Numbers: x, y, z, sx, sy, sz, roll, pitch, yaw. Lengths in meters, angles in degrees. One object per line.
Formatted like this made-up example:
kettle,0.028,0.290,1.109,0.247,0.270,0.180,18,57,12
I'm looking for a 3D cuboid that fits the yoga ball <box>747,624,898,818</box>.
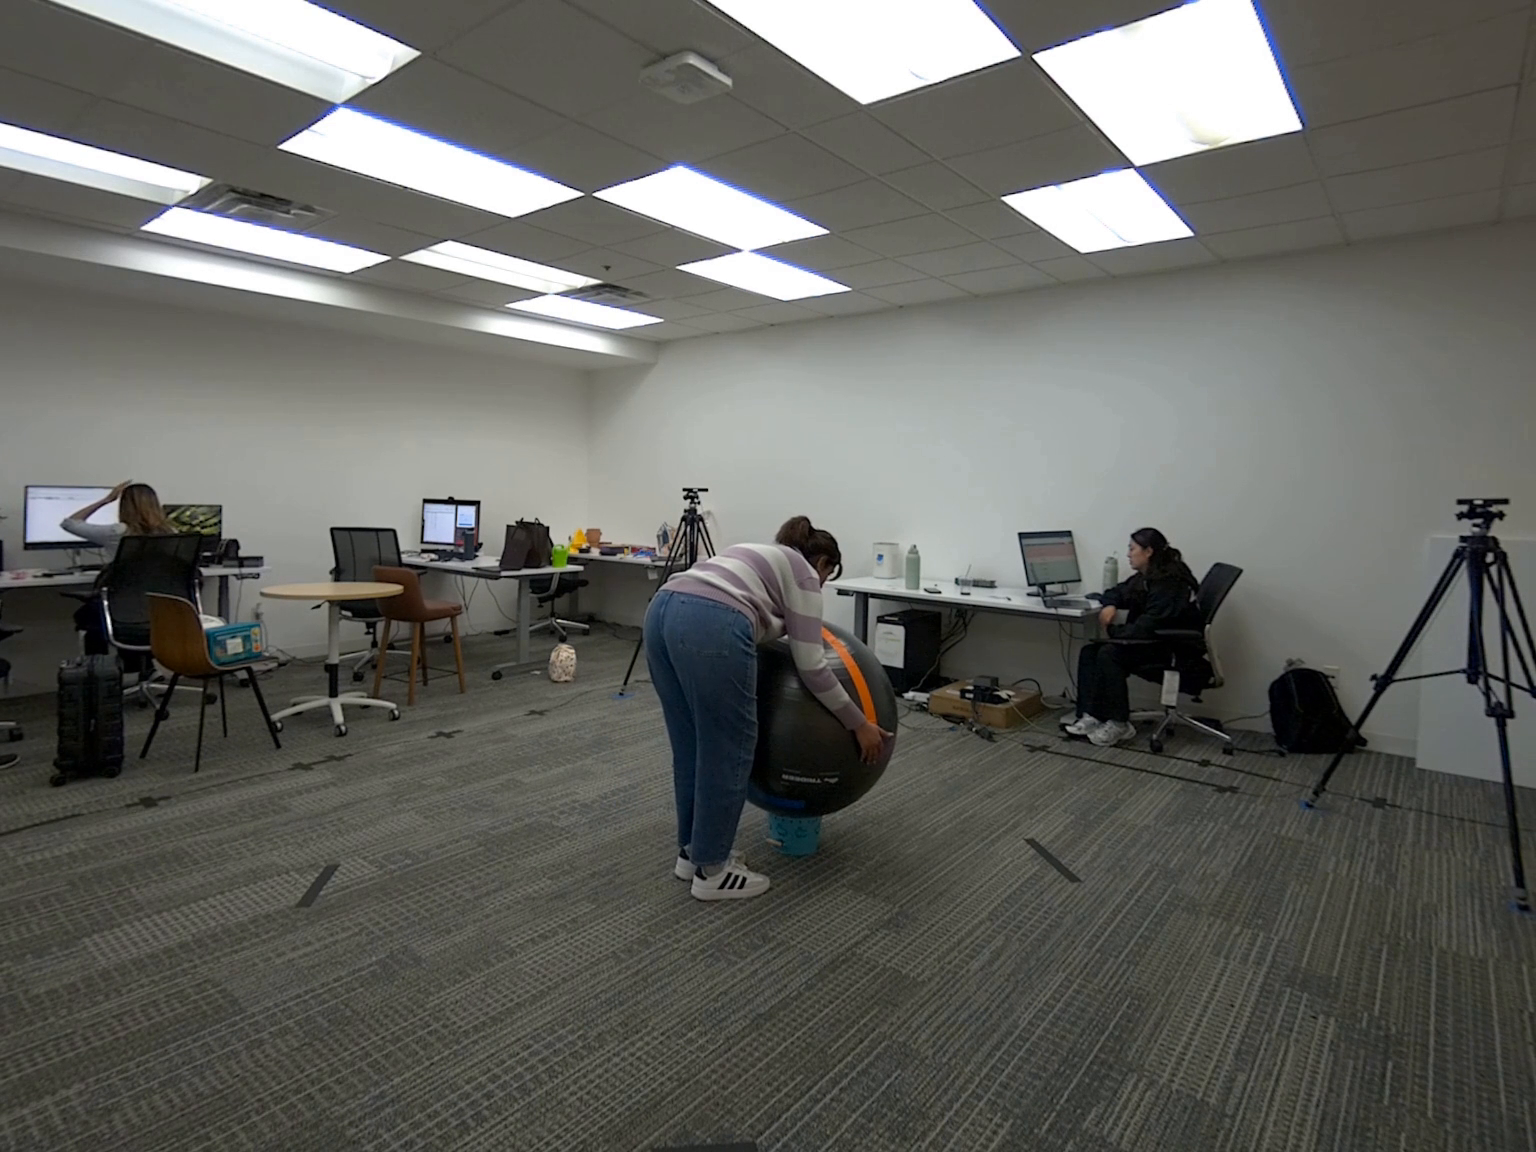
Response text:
yoga ball,0.116,0.535,3.320,0.757,0.756,0.762,1,4,-2
